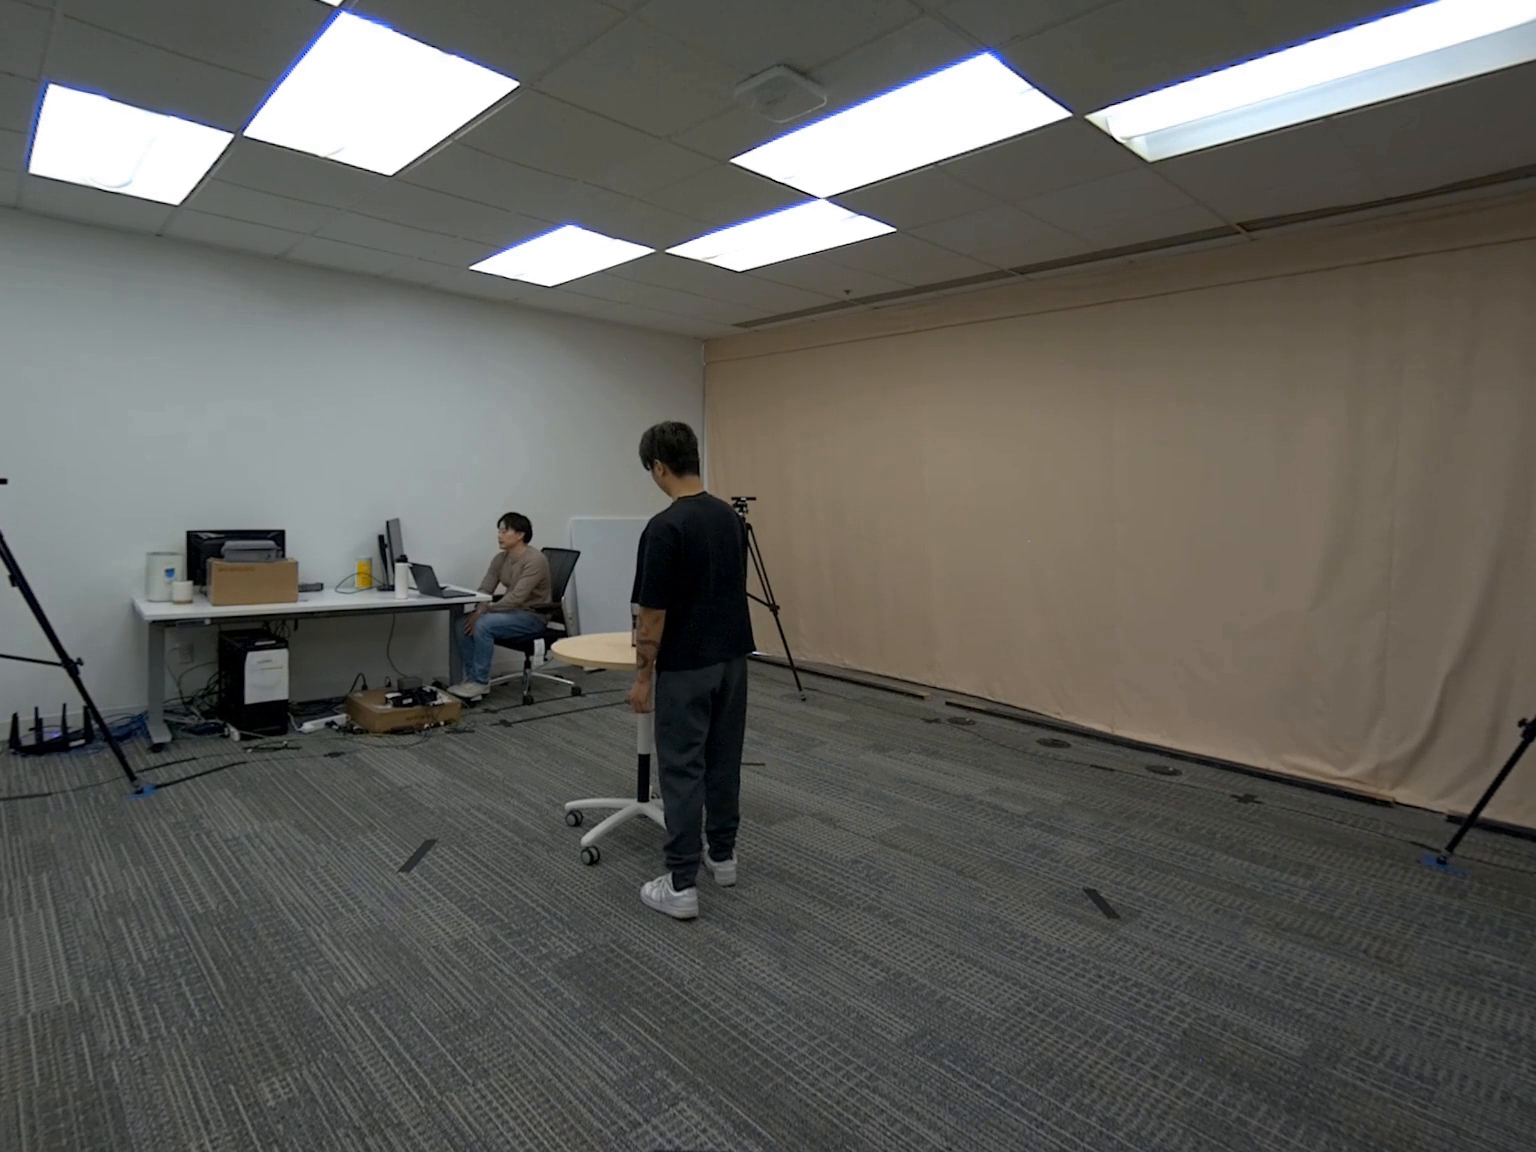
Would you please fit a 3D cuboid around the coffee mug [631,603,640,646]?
[{"bbox_3d":[-0.508,0.191,3.408,0.125,0.203,0.086,0,-2,41],"label":"coffee mug"}]
